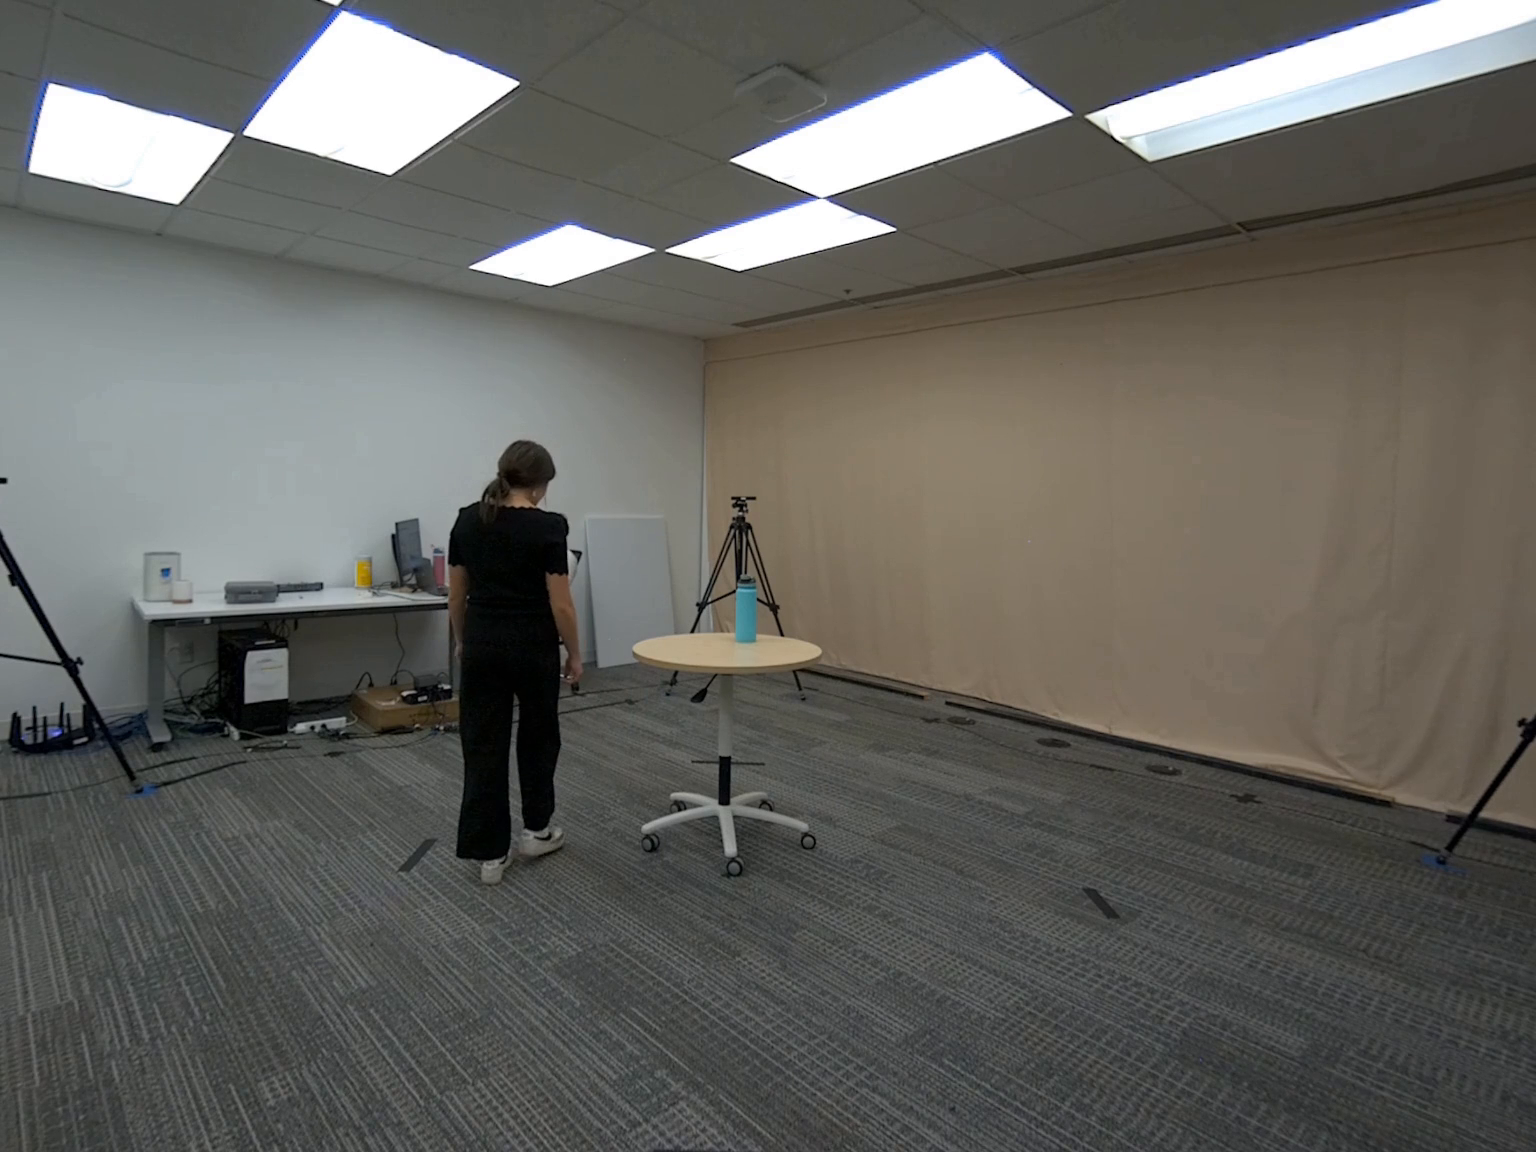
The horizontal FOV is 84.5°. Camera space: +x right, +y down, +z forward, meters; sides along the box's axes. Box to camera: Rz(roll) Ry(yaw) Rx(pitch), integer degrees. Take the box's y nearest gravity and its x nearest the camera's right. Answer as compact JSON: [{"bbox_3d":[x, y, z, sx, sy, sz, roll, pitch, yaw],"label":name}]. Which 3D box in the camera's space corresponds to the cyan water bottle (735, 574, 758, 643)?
[{"bbox_3d":[-0.095,0.137,3.586,0.092,0.282,0.093,4,4,-2],"label":"cyan water bottle"}]
